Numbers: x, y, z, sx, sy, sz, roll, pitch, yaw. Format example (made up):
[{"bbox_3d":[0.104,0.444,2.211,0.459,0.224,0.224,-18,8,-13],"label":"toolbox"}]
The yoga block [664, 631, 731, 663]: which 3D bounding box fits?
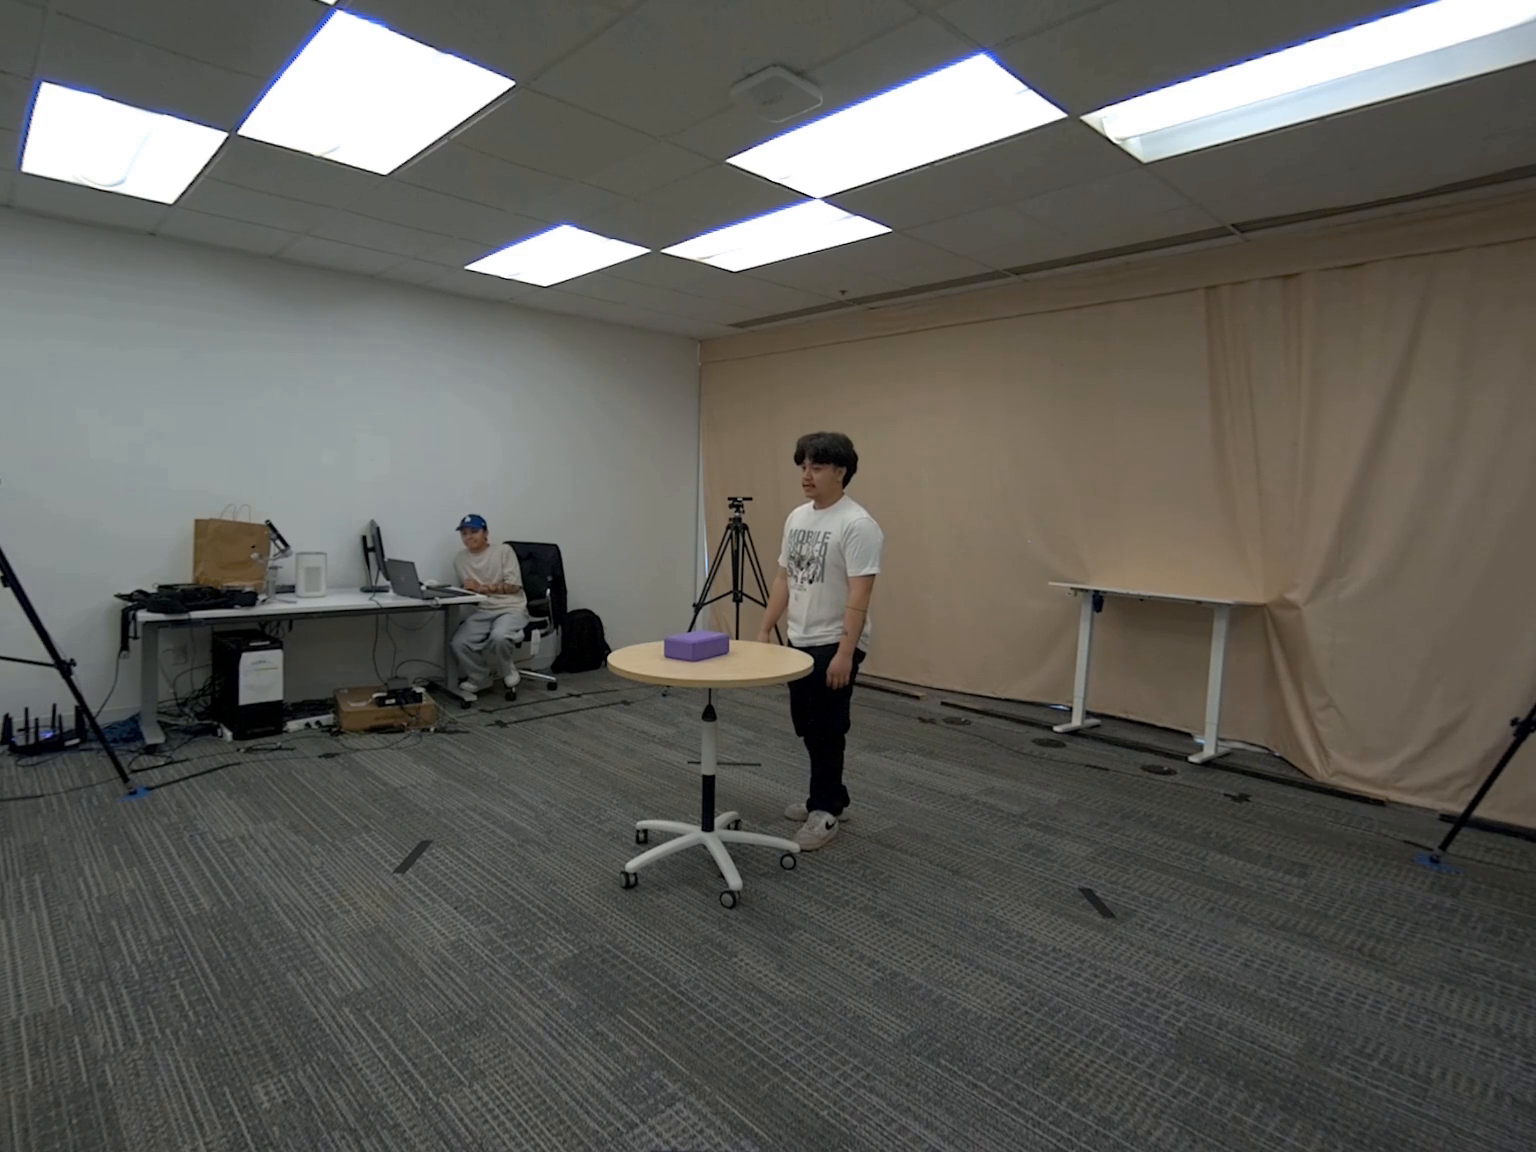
[{"bbox_3d":[-0.272,0.261,3.169,0.152,0.076,0.225,5,7,33],"label":"yoga block"}]
